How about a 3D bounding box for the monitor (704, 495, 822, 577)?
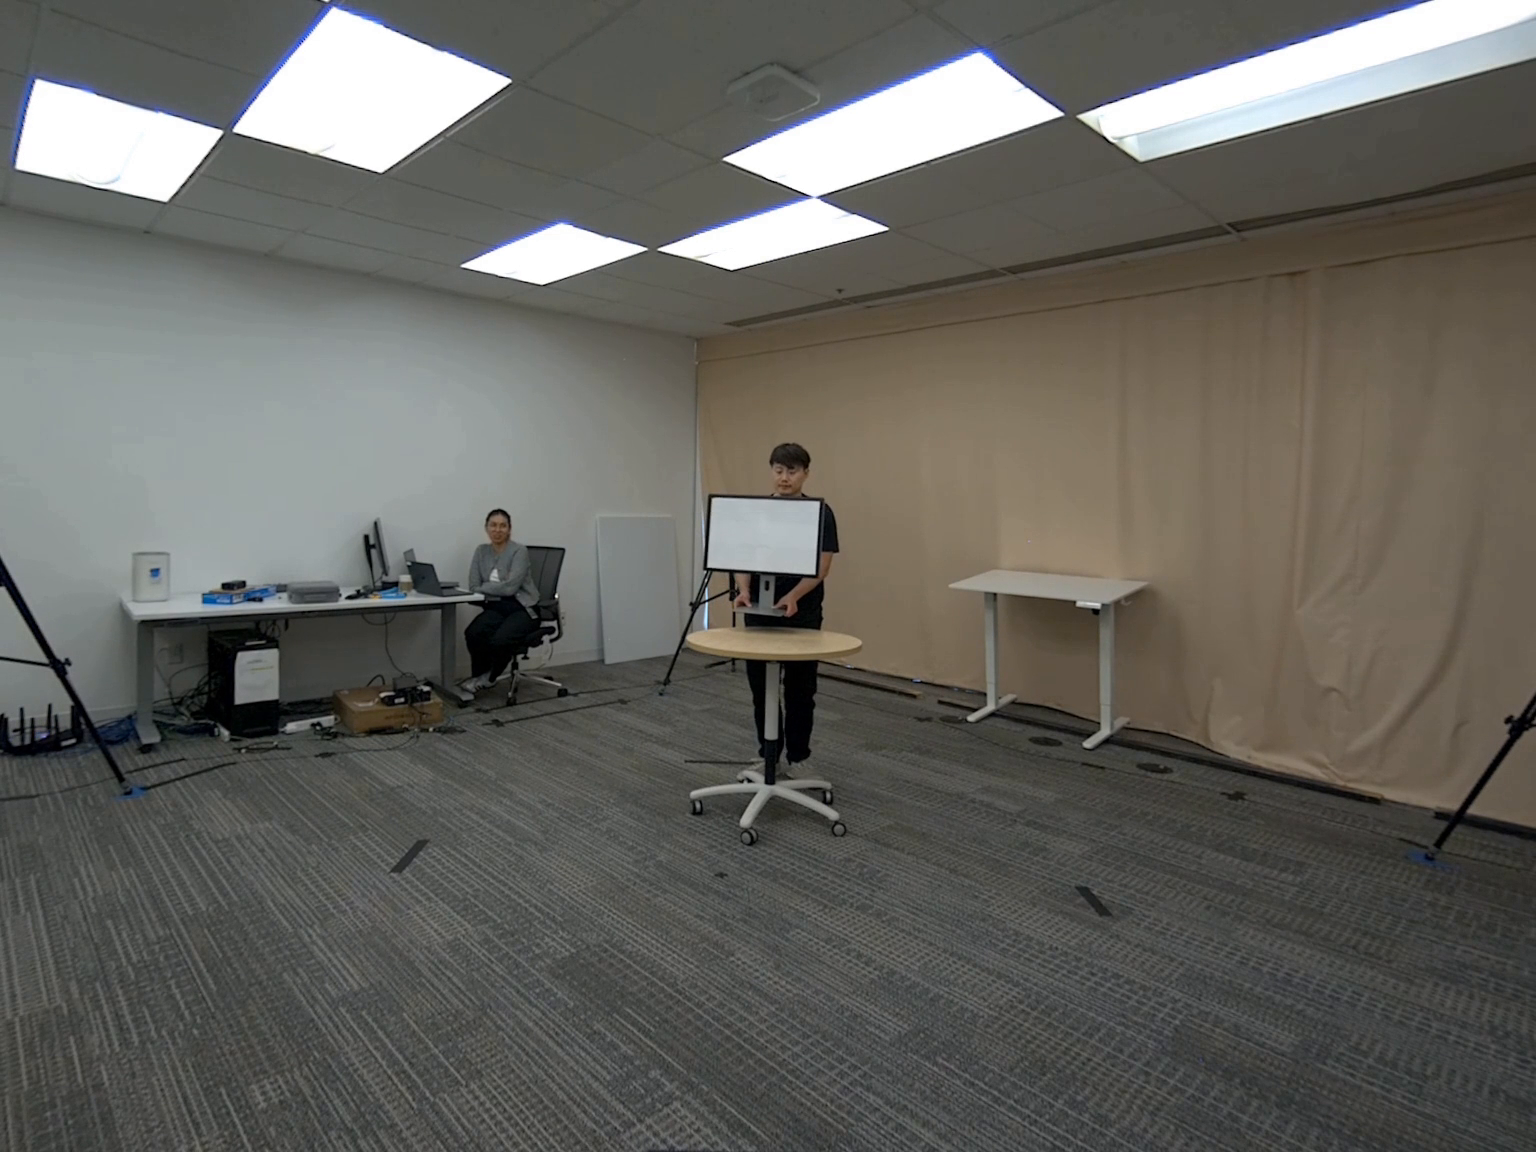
[{"bbox_3d":[-0.028,-0.102,3.896,0.548,0.519,0.185,3,10,20],"label":"monitor"}]
